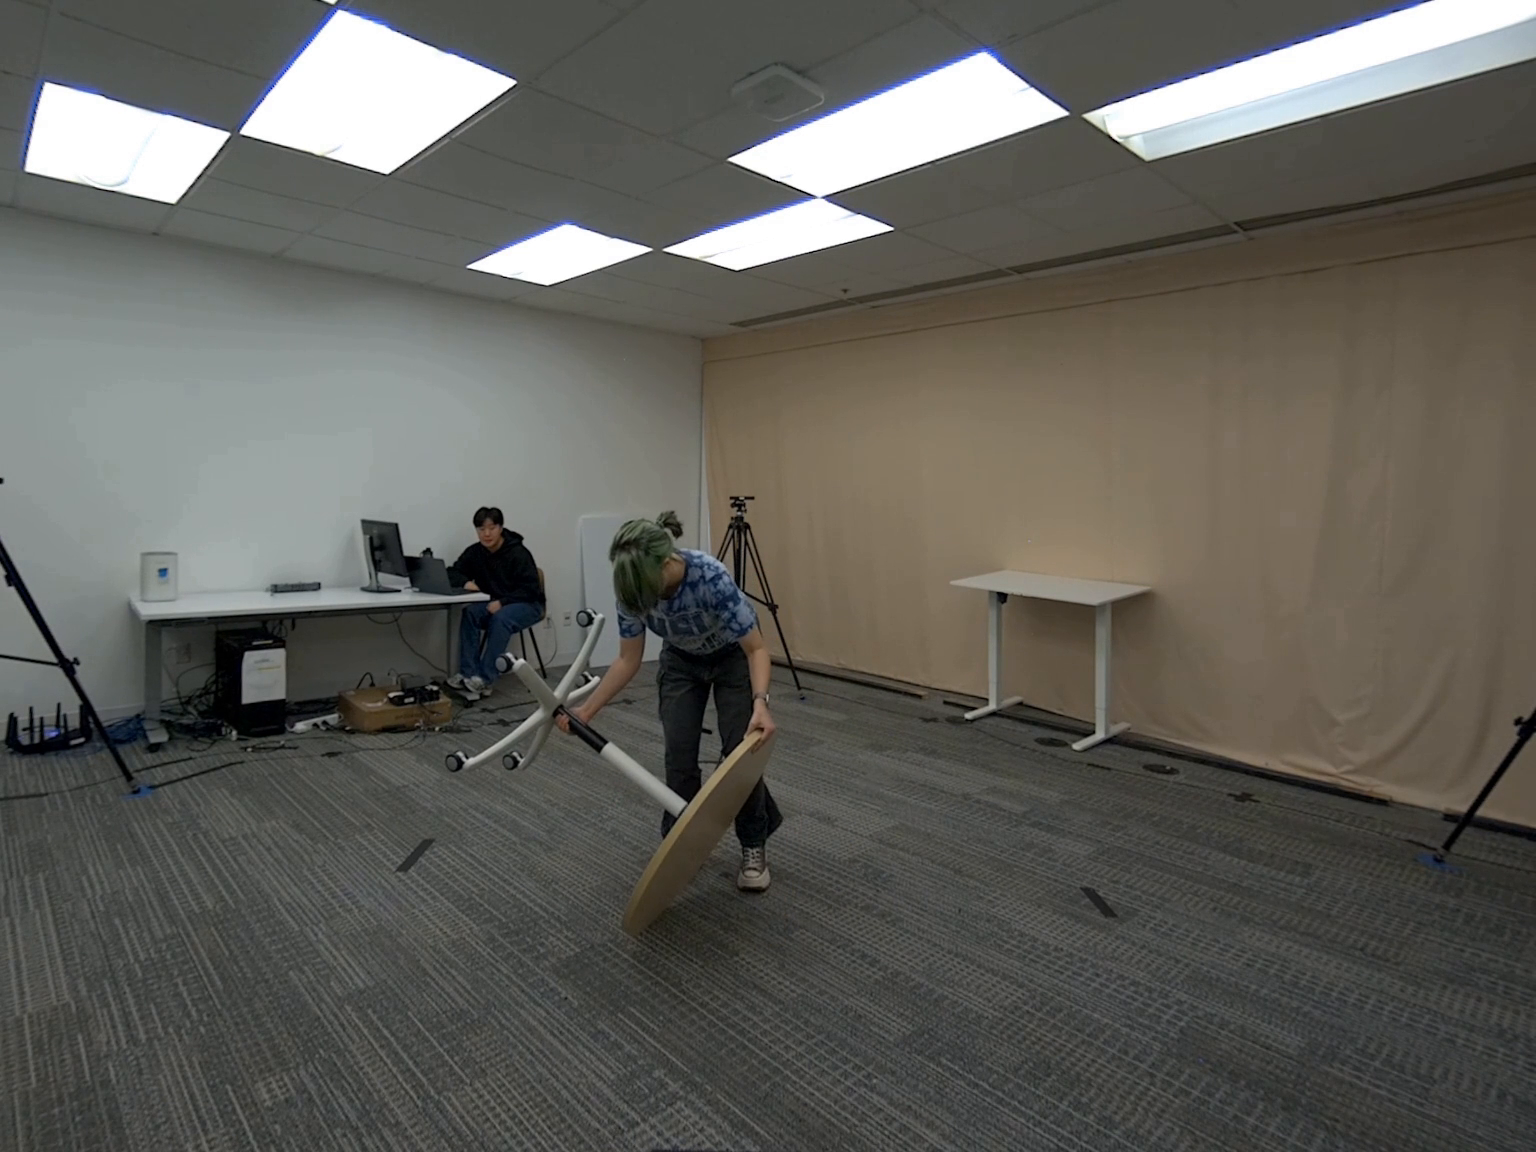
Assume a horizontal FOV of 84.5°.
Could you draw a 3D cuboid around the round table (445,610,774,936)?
[{"bbox_3d":[-0.515,0.603,2.800,0.808,0.761,0.753,33,14,16],"label":"round table"}]
